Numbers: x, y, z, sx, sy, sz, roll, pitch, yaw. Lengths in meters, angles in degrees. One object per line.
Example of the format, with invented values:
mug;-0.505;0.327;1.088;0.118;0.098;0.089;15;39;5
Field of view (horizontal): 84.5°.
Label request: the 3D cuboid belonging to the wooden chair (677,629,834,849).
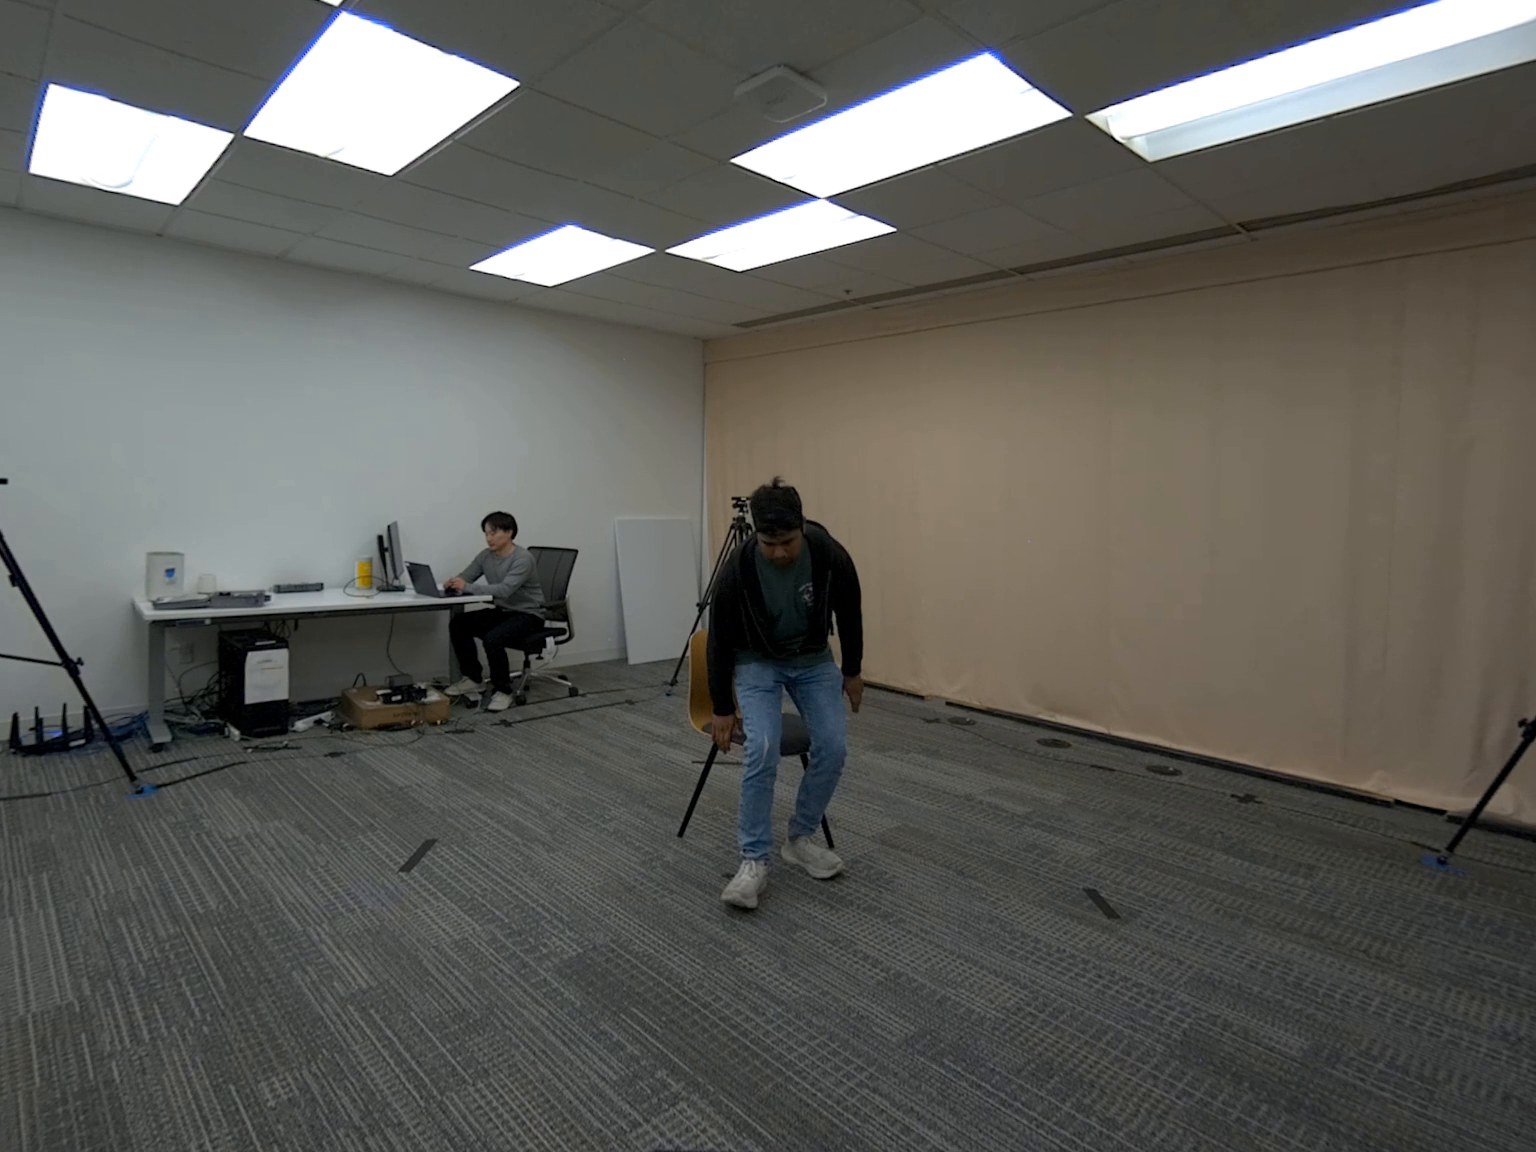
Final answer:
wooden chair;-0.043;0.659;3.383;0.467;0.877;0.535;0;0;-39
